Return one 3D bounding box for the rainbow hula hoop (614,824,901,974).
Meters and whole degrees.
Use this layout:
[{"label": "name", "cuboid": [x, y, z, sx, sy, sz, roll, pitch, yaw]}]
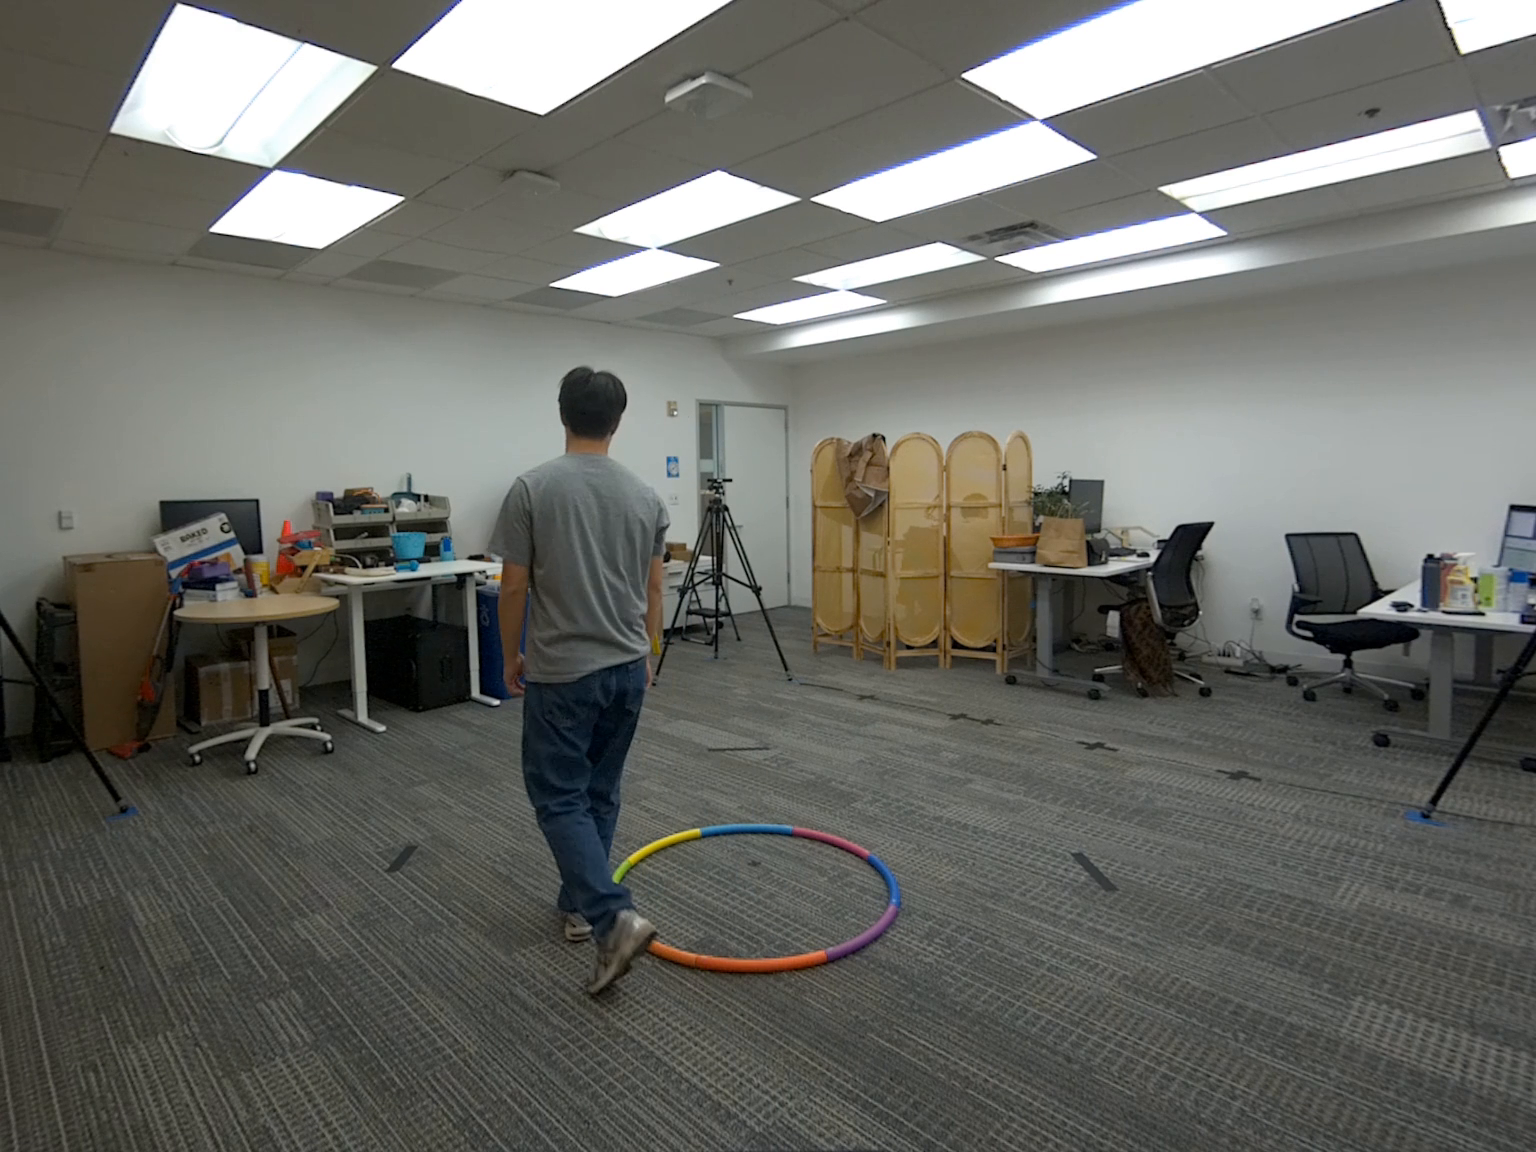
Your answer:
[{"label": "rainbow hula hoop", "cuboid": [-0.054, 1.039, 2.902, 0.978, 0.035, 0.984, -1, 7, -2]}]
